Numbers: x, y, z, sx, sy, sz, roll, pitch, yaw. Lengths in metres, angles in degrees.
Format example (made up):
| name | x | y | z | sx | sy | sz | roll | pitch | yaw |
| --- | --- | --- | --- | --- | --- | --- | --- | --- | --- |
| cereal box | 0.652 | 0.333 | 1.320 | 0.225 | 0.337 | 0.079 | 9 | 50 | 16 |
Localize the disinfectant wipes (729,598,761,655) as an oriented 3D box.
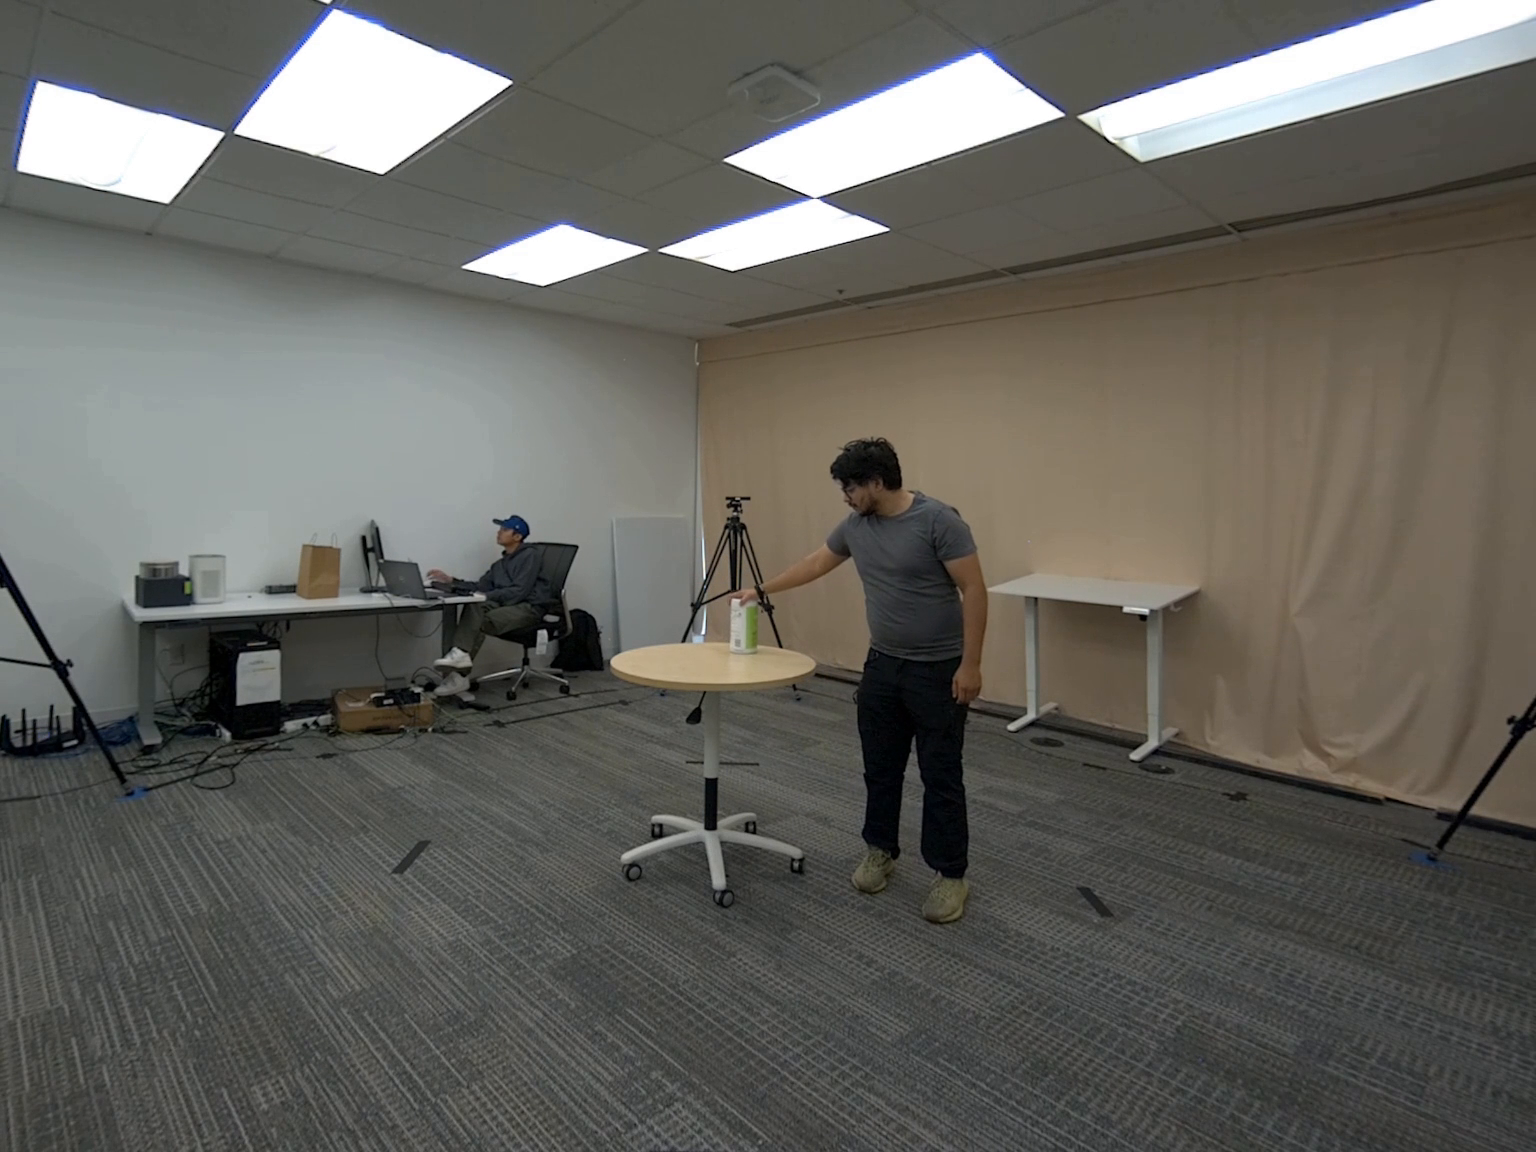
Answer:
| name | x | y | z | sx | sy | sz | roll | pitch | yaw |
| --- | --- | --- | --- | --- | --- | --- | --- | --- | --- |
| disinfectant wipes | -0.098 | 0.196 | 3.327 | 0.118 | 0.217 | 0.118 | 3 | 5 | -2 |
